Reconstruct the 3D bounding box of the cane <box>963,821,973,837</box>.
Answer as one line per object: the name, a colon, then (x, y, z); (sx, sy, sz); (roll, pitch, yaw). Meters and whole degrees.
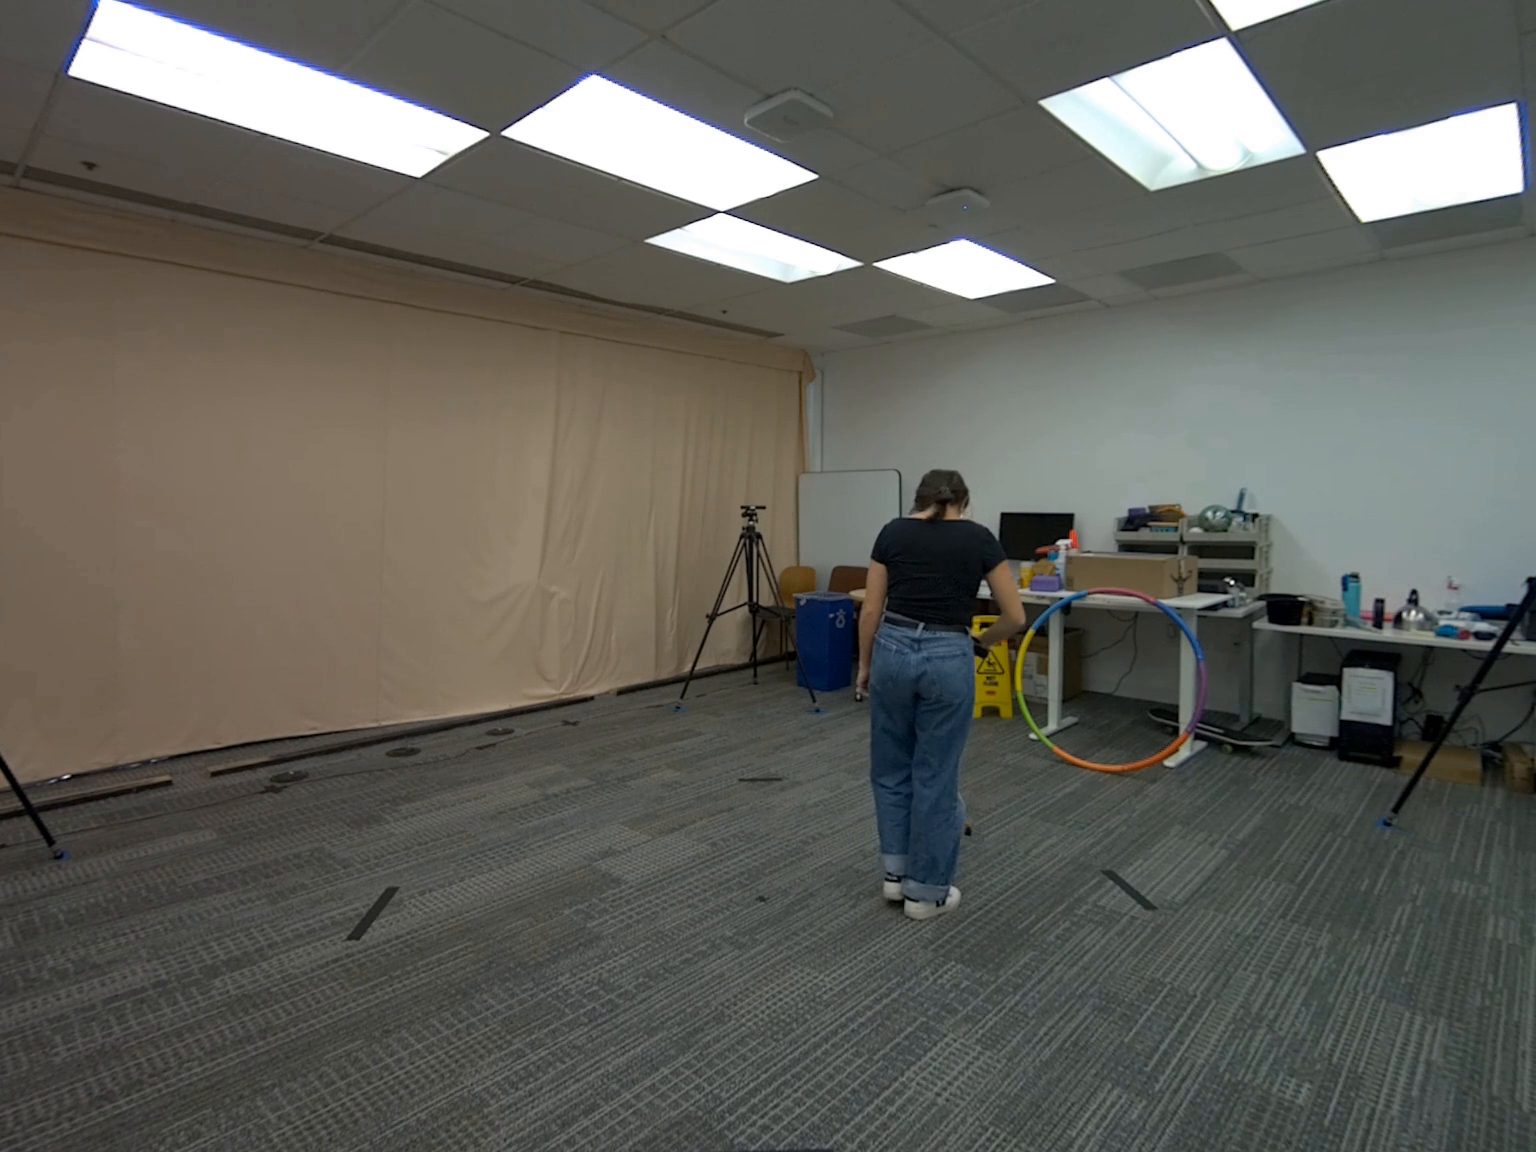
cane: (0.738, 0.637, 3.276); (0.149, 0.895, 0.213); (-10, 29, -21)
